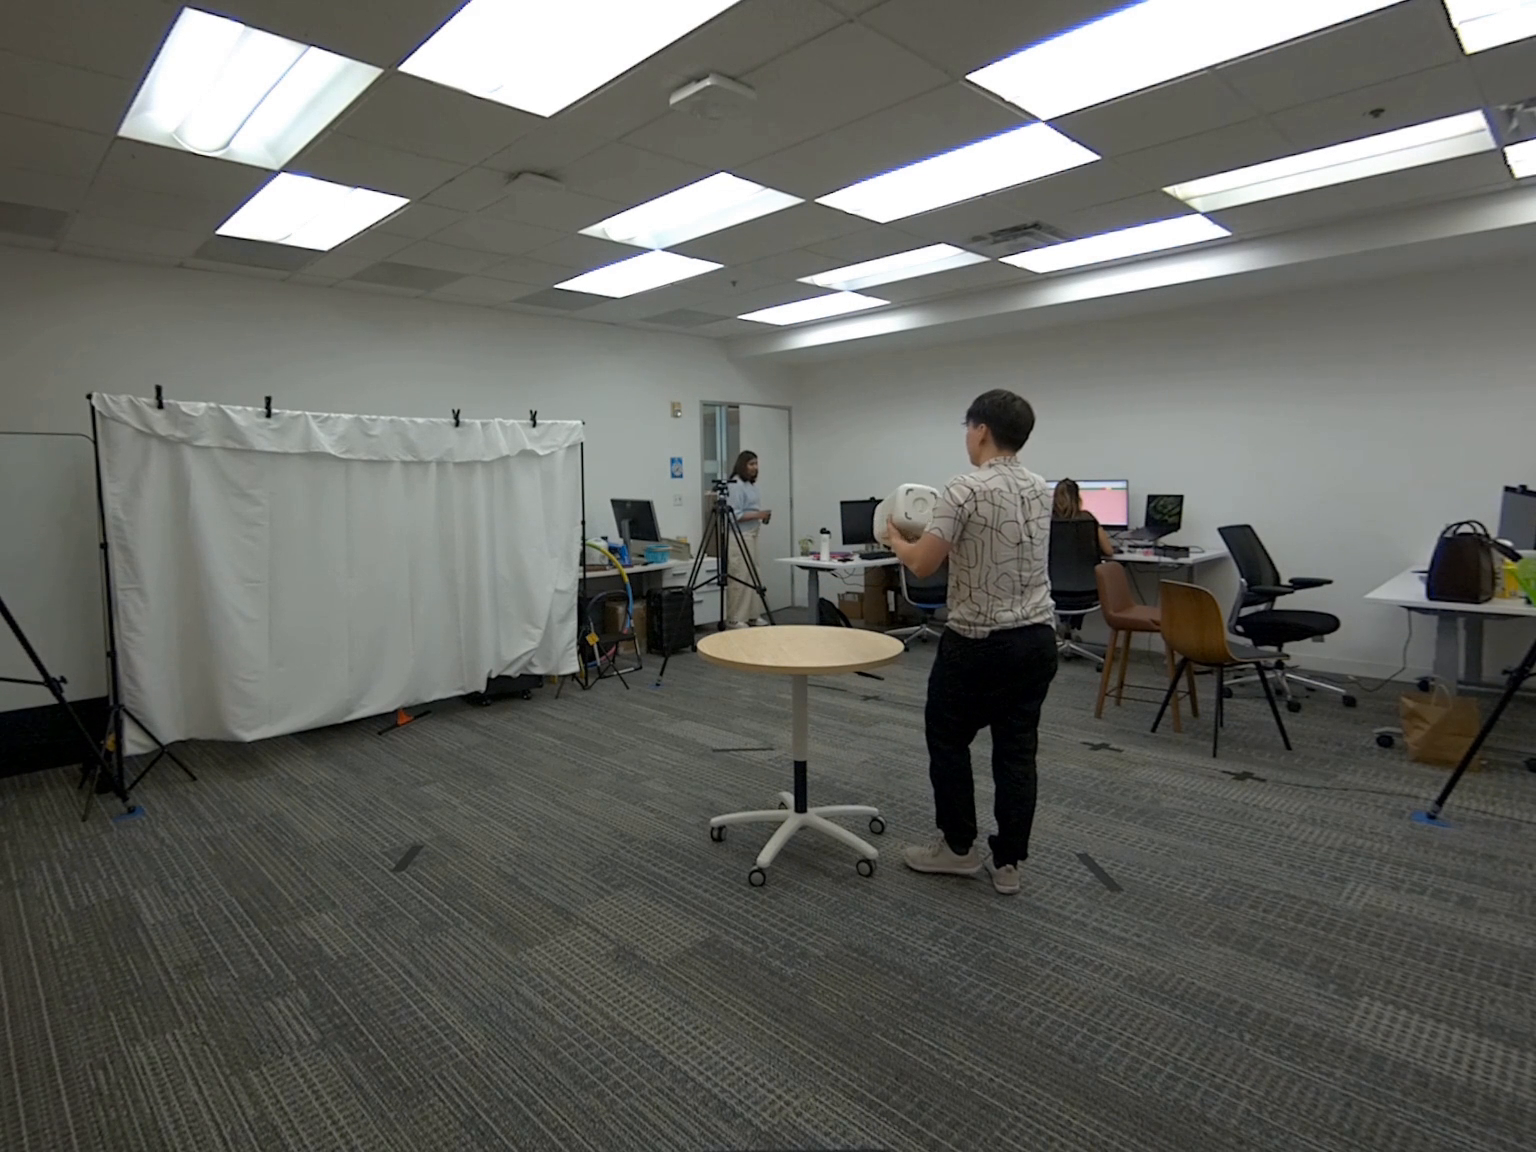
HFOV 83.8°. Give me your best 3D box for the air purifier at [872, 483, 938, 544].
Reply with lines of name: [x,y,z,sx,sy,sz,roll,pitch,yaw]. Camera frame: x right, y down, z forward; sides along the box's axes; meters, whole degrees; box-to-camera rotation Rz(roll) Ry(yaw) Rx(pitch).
air purifier: [0.517,-0.220,3.132,0.169,0.173,0.265,10,-14,-9]
